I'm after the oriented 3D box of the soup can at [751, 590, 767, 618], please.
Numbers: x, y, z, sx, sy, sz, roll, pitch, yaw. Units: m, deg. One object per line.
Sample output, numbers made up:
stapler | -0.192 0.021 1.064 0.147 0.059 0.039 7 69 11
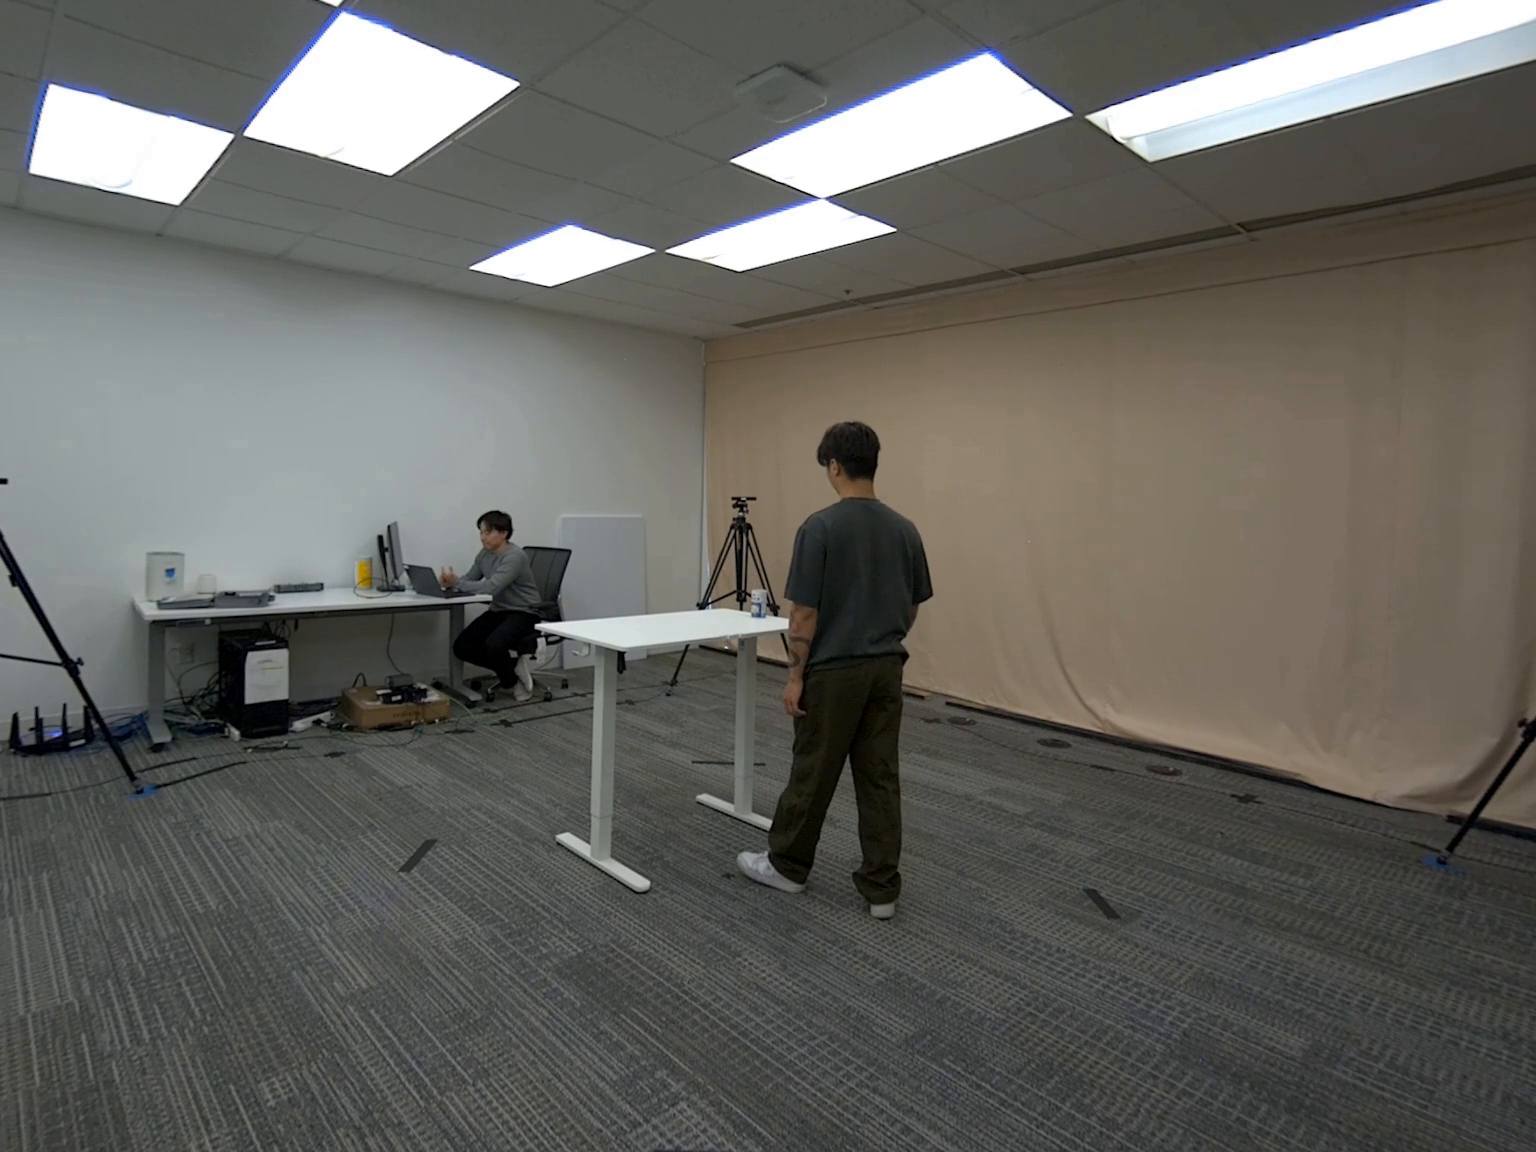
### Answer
soup can | -0.053 0.123 3.675 0.067 0.121 0.067 5 3 -2
